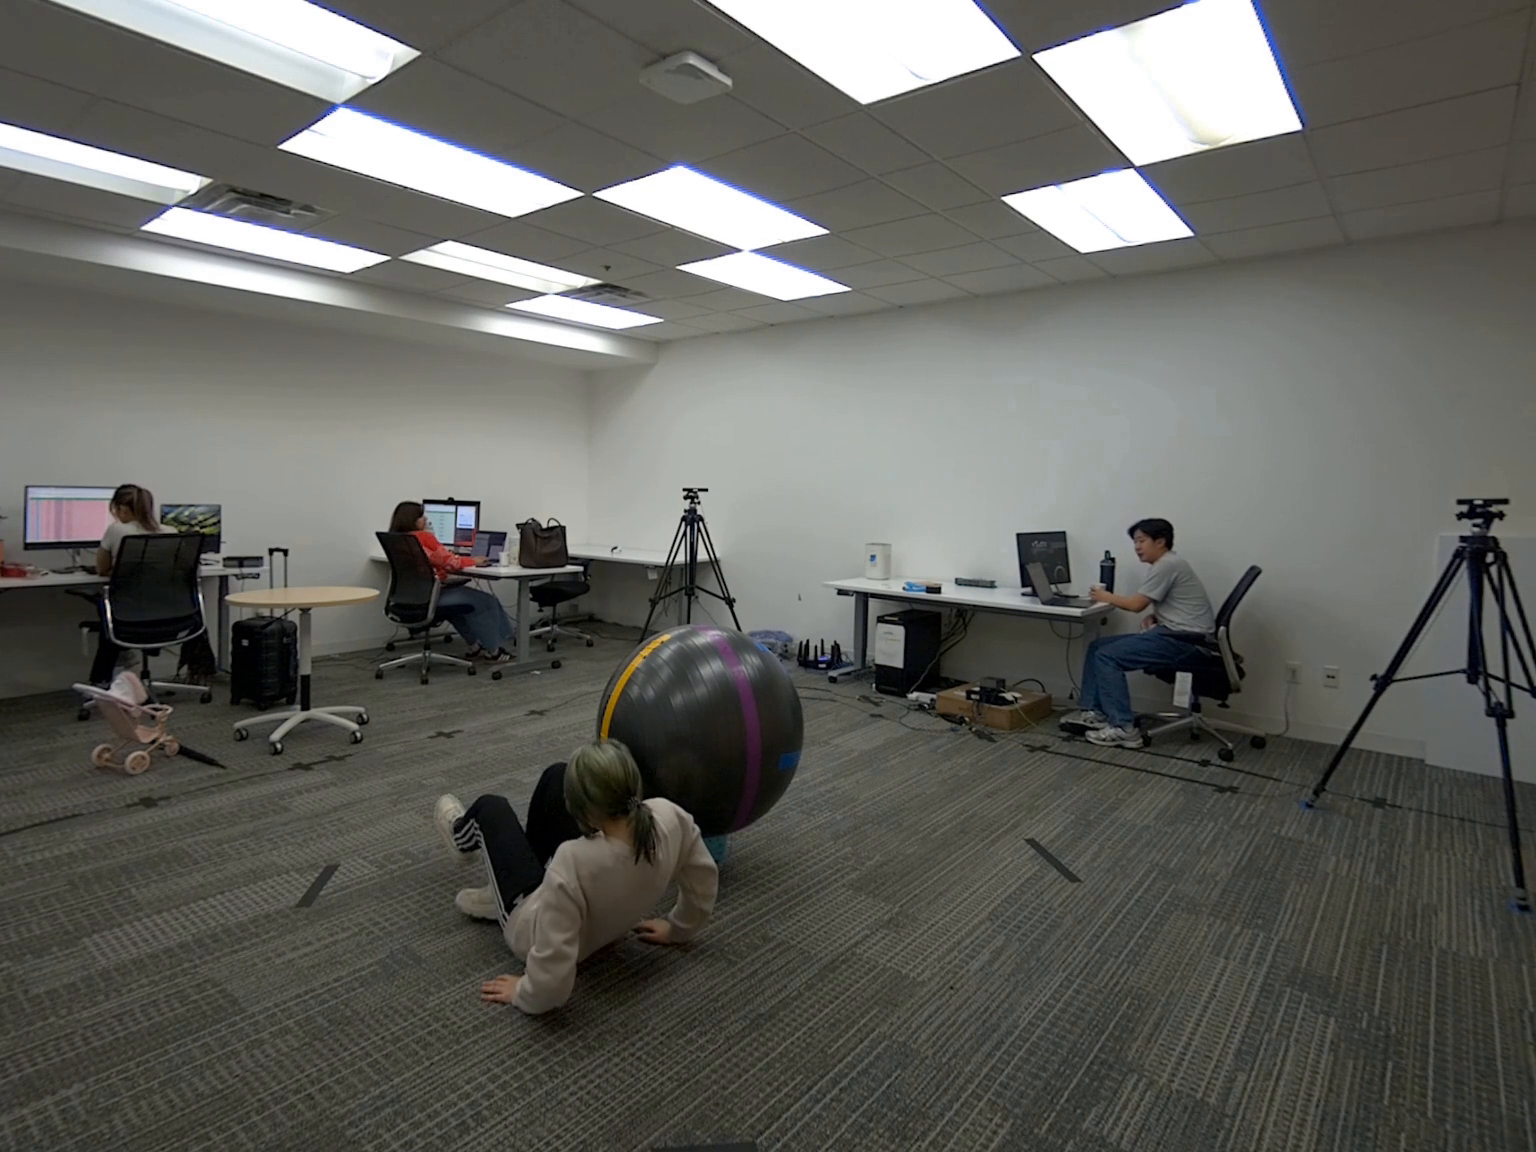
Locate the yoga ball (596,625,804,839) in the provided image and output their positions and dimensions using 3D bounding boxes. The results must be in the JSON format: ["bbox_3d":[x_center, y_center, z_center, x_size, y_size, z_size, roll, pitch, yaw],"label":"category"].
[{"bbox_3d":[-0.257,0.554,3.112,0.757,0.755,0.762,1,4,-2],"label":"yoga ball"}]
